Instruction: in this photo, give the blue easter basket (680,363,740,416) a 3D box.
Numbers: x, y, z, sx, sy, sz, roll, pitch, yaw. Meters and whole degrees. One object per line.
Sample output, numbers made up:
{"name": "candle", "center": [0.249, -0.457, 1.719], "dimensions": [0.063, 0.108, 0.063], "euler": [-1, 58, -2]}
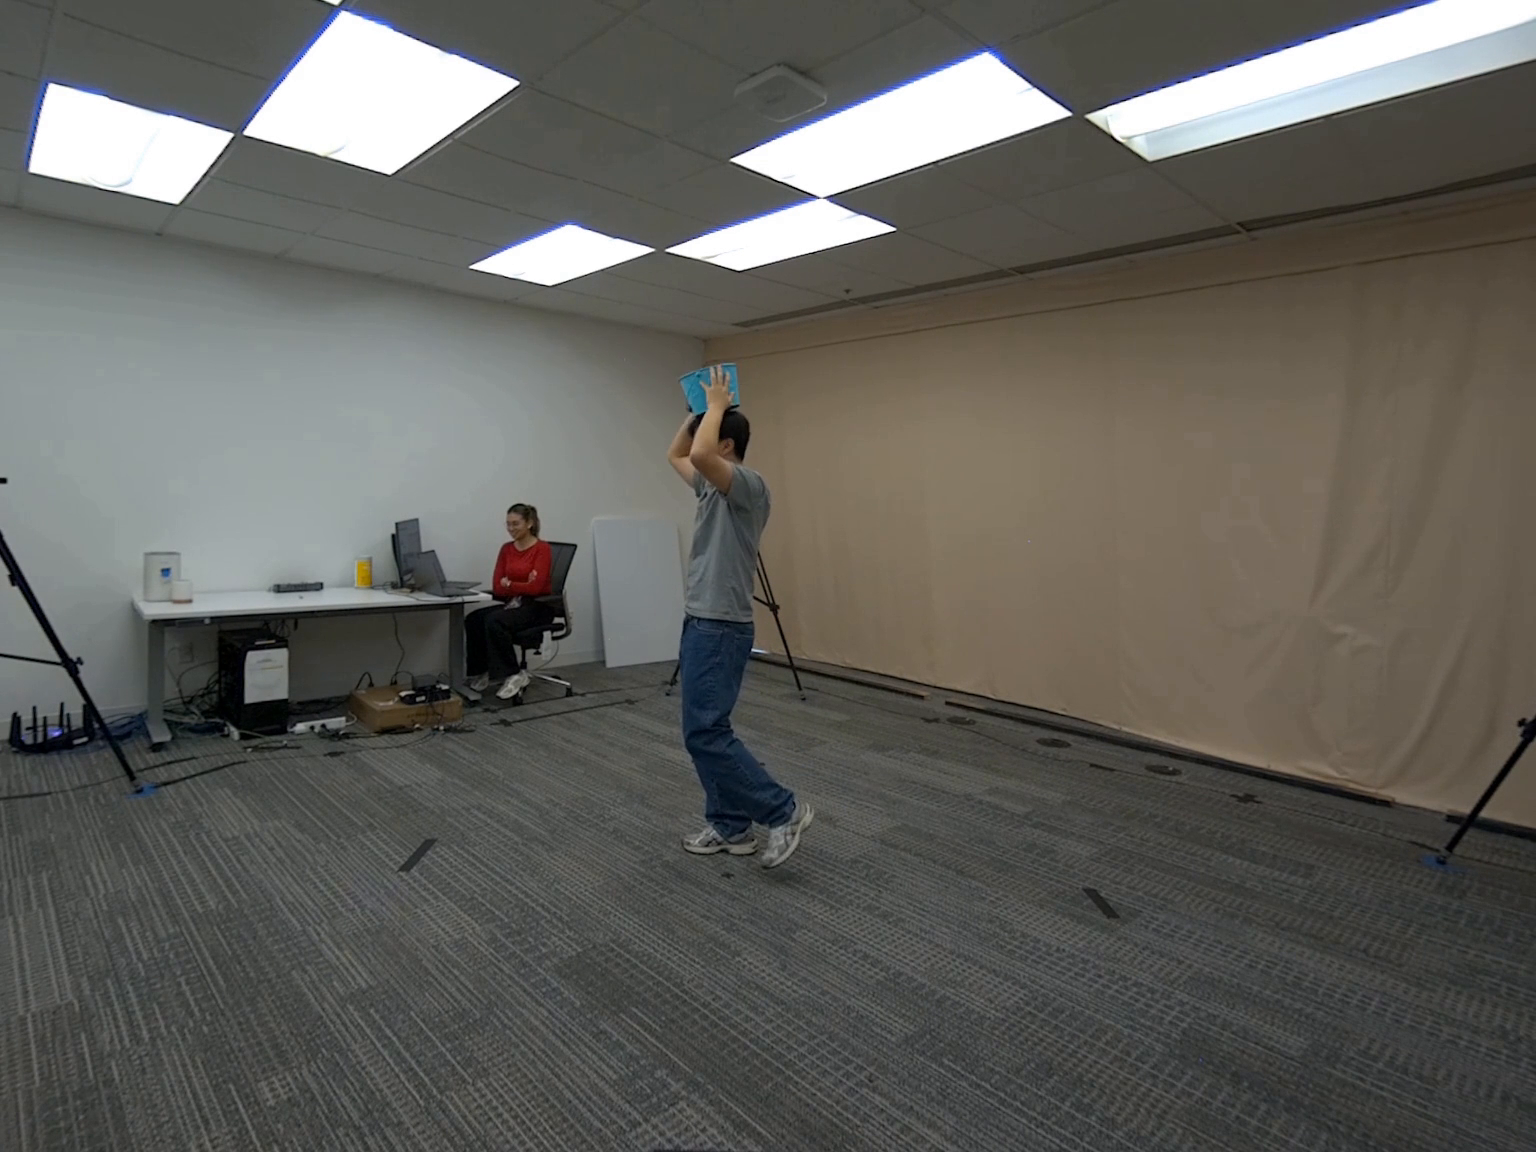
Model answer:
{"name": "blue easter basket", "center": [-0.237, -0.709, 3.254], "dimensions": [0.243, 0.155, 0.244], "euler": [-13, 3, -1]}
